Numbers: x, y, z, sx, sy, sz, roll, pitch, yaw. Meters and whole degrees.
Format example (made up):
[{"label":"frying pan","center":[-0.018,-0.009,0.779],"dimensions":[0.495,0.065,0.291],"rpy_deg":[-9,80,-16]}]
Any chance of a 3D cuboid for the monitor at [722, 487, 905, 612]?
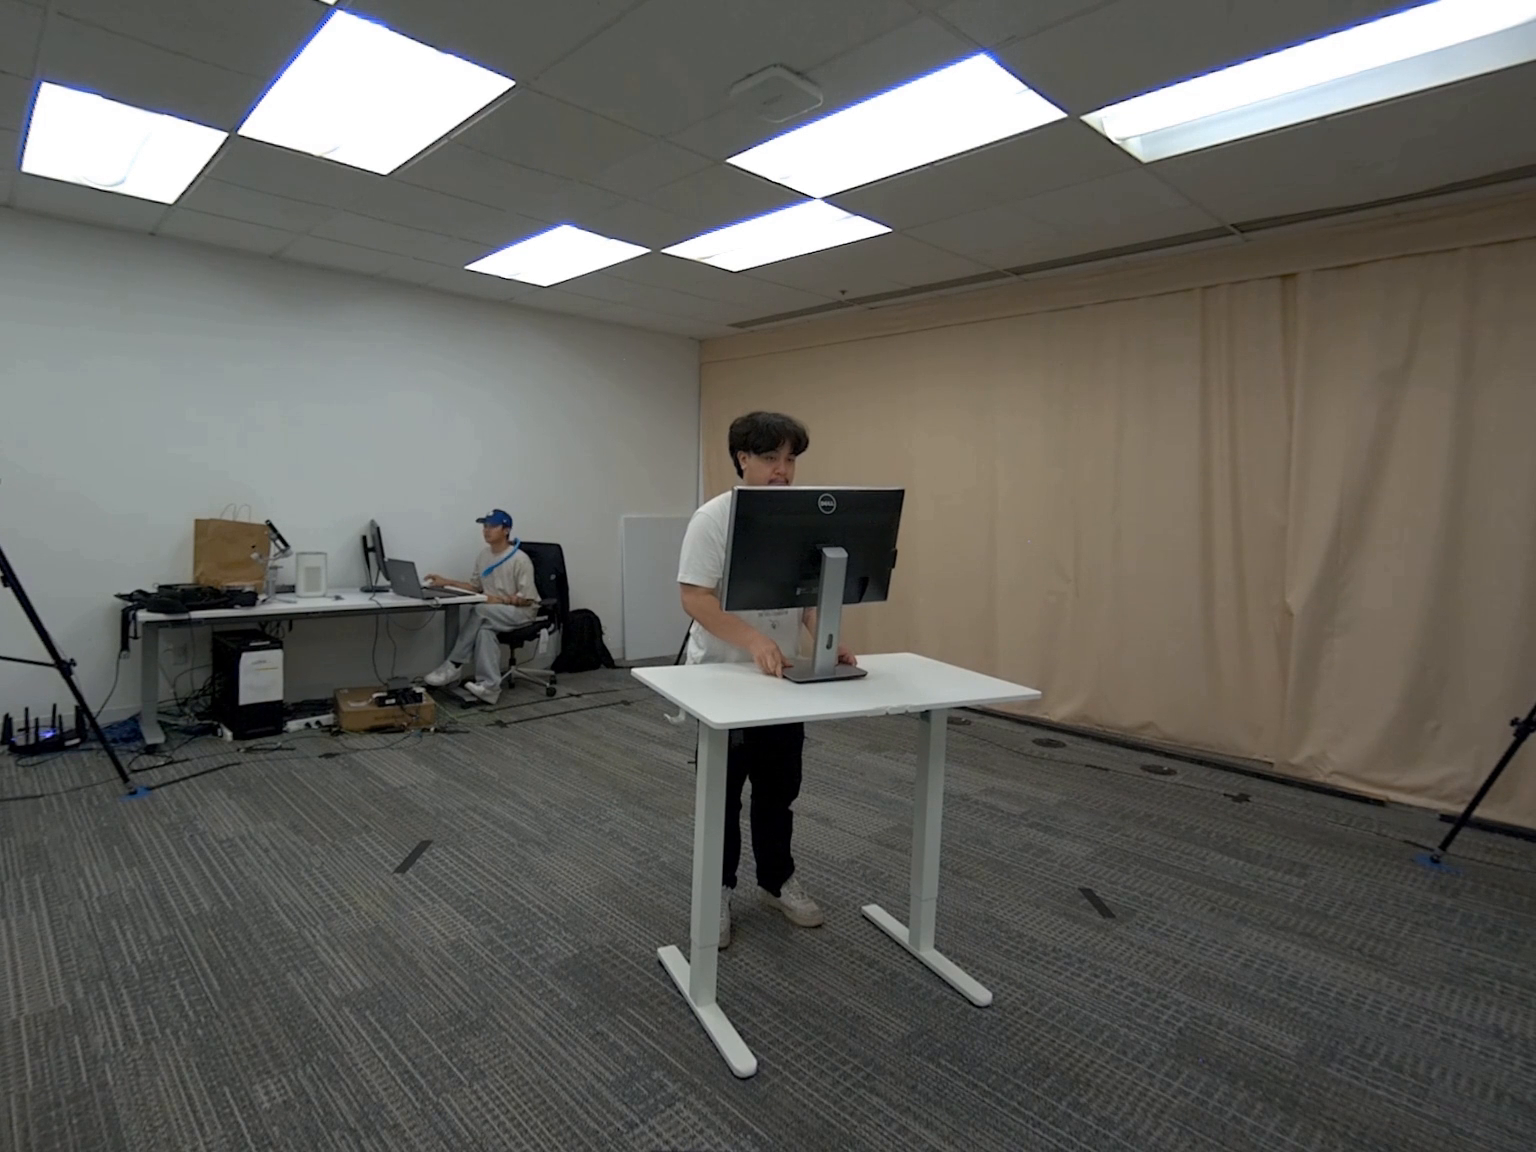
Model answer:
[{"label":"monitor","center":[0.152,0.023,2.403],"dimensions":[0.555,0.550,0.215],"rpy_deg":[-1,12,-26]}]
